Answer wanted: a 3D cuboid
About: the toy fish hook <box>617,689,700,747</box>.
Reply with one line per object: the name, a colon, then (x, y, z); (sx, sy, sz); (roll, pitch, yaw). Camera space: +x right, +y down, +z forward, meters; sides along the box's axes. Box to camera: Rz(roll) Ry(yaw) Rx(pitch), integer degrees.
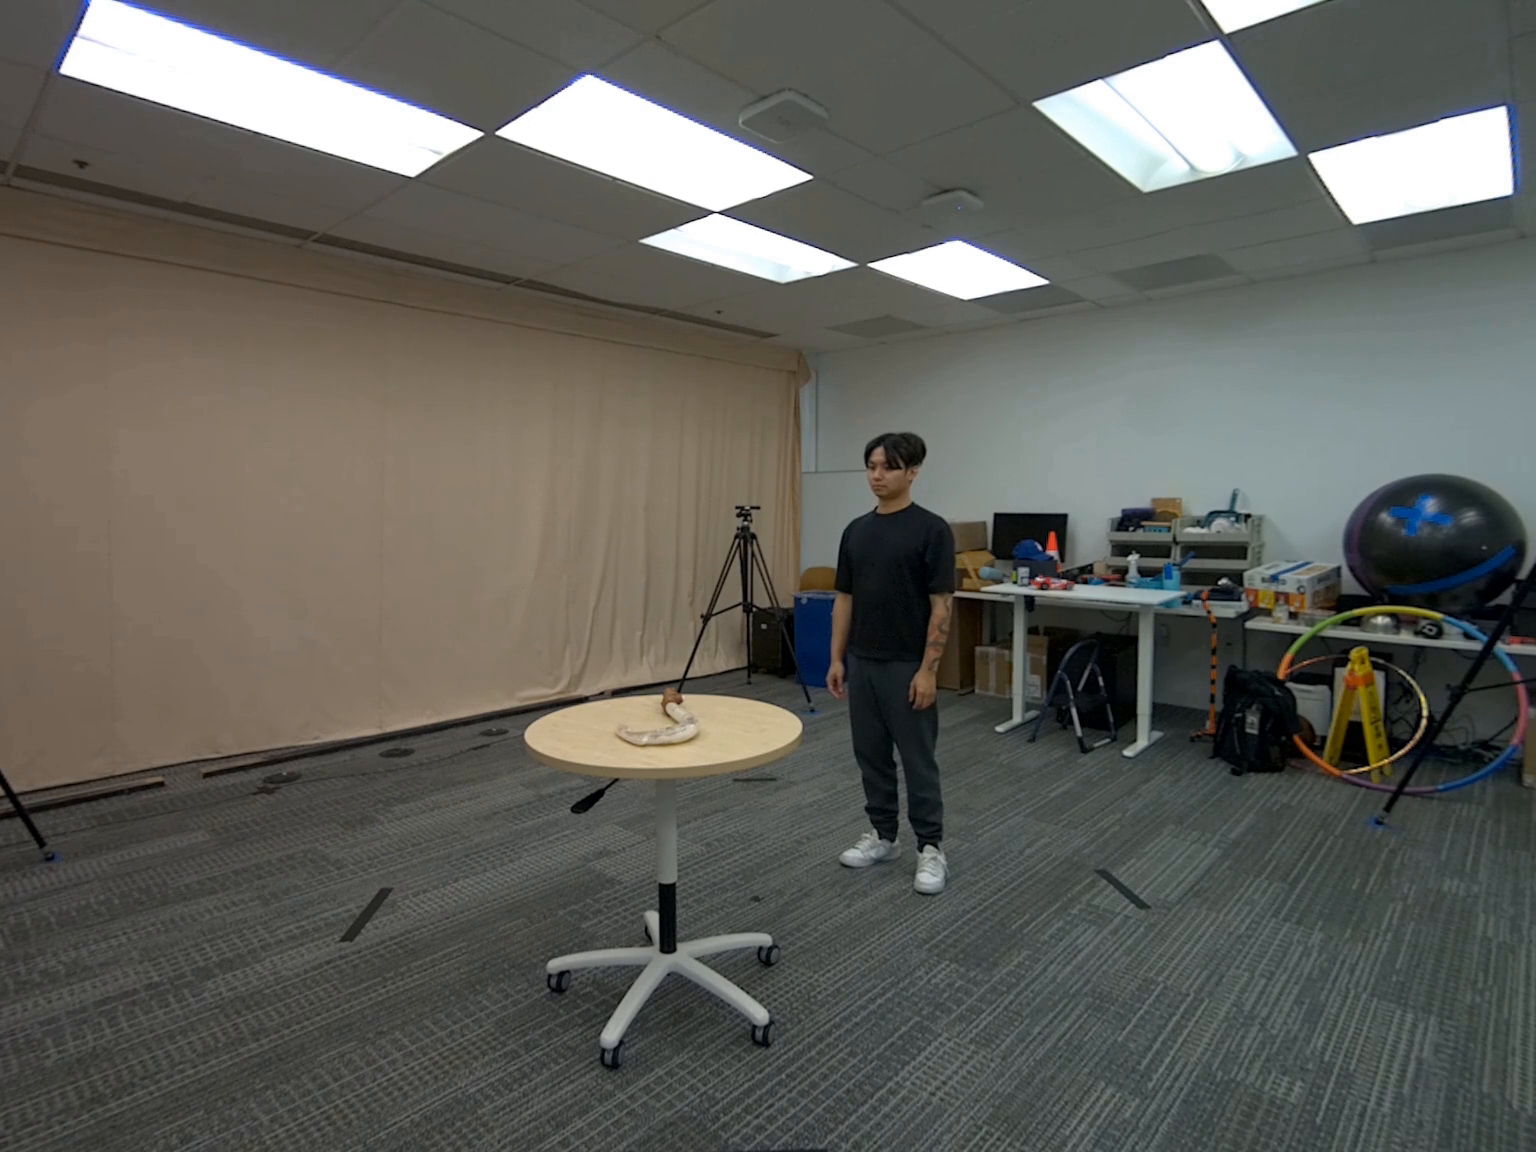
toy fish hook: (-0.320, 0.388, 2.379); (0.223, 0.048, 0.511); (2, 5, -8)
